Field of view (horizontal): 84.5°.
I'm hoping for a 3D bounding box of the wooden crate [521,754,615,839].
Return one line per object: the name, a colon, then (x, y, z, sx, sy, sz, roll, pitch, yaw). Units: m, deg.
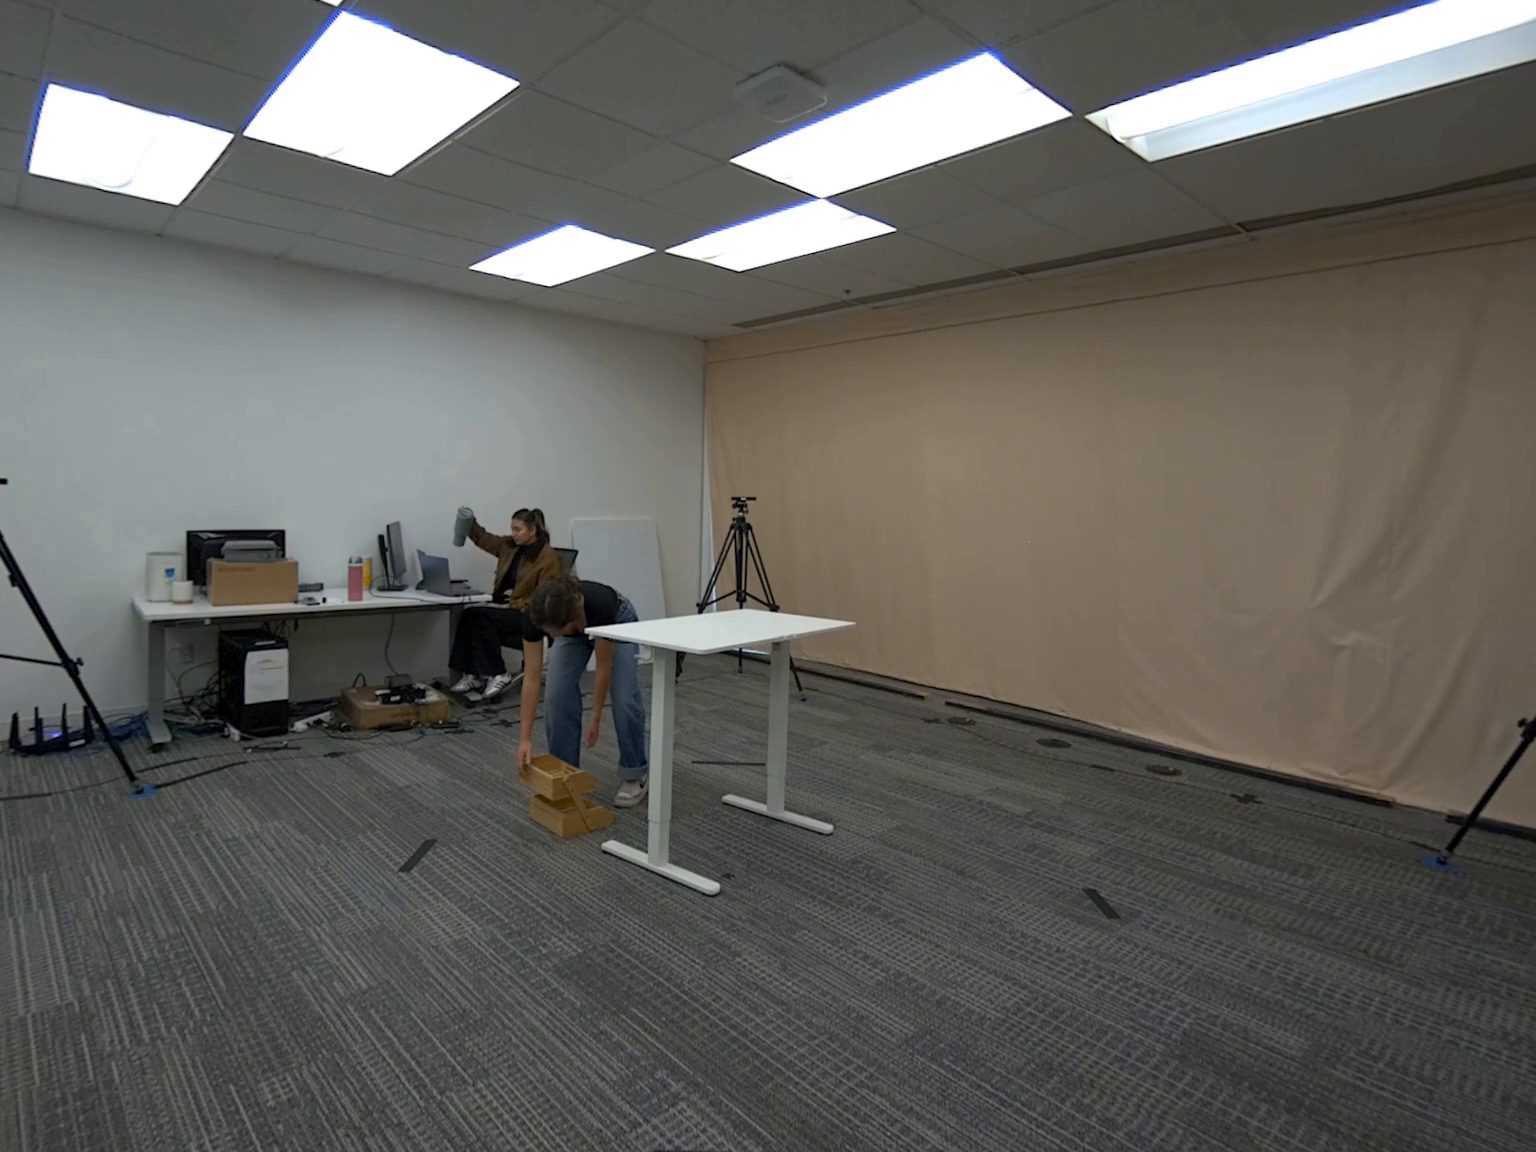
wooden crate: (-0.868, 0.917, 3.578, 0.295, 0.272, 0.333, -4, 7, -41)
